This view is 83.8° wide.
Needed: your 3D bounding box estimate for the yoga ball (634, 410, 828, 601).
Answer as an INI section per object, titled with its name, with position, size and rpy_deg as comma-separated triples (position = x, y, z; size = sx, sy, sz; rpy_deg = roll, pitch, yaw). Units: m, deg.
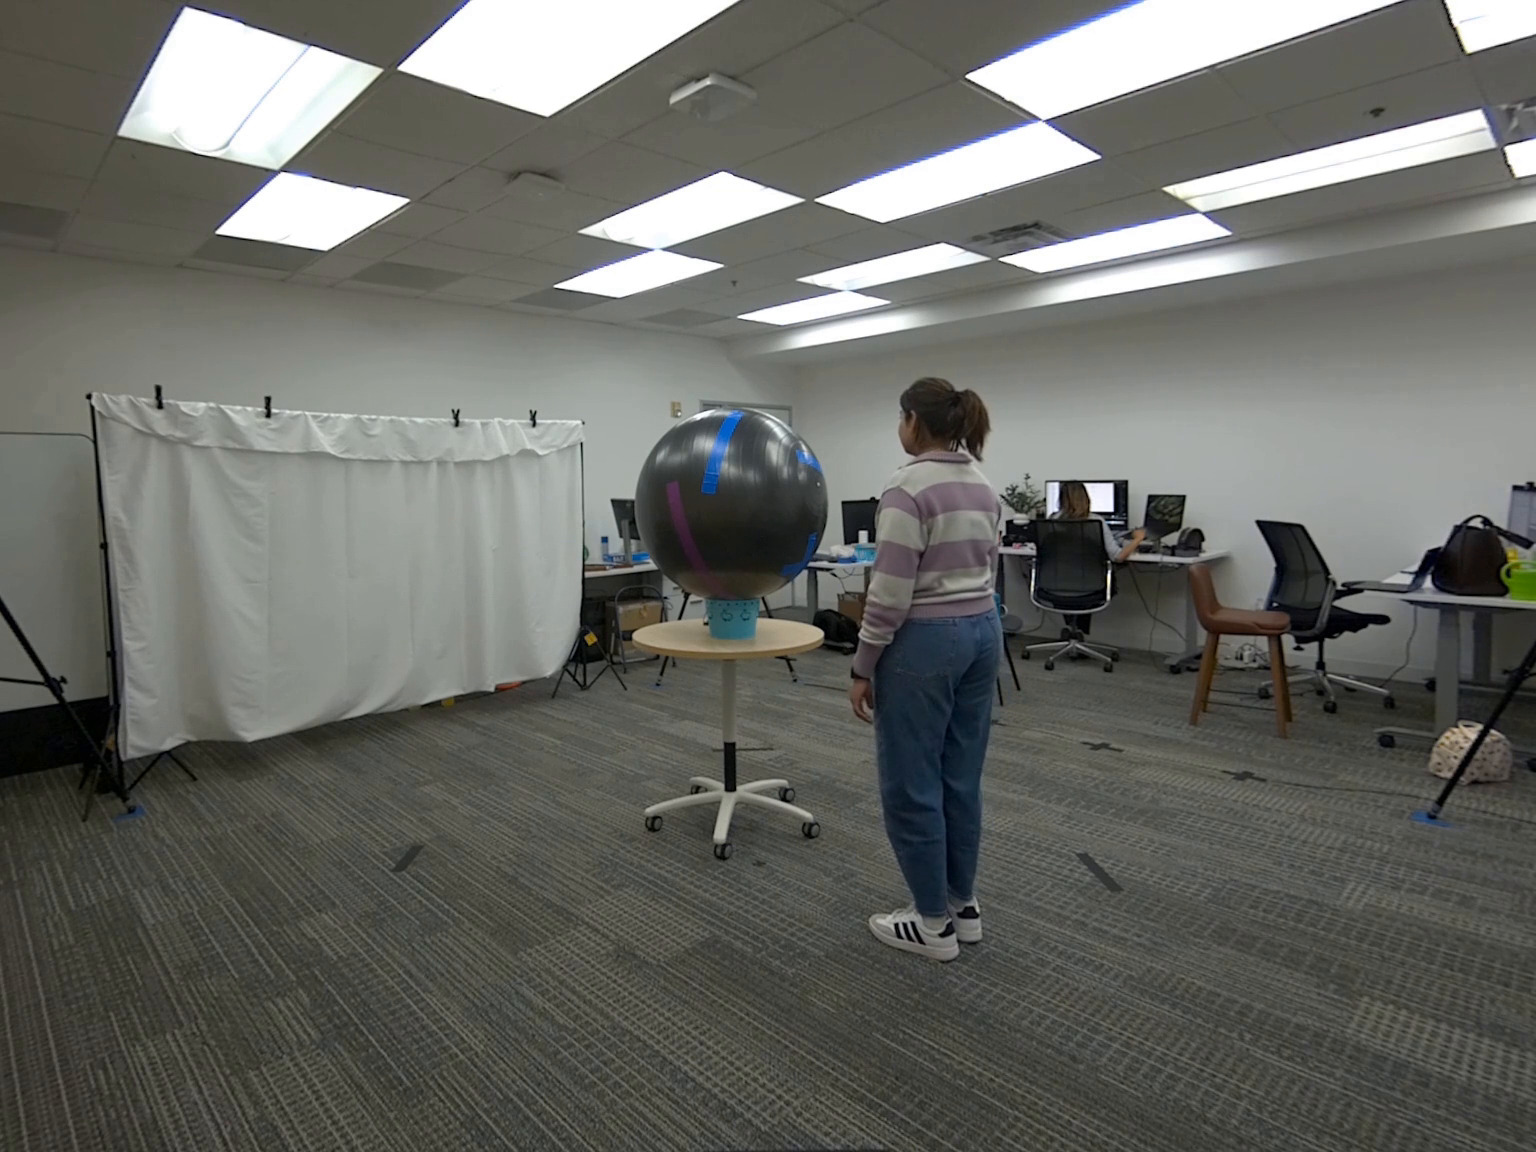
[yoga ball]
position = -0.147, -0.273, 3.358
size = 0.757, 0.755, 0.762
rpy_deg = -1, 5, -2
